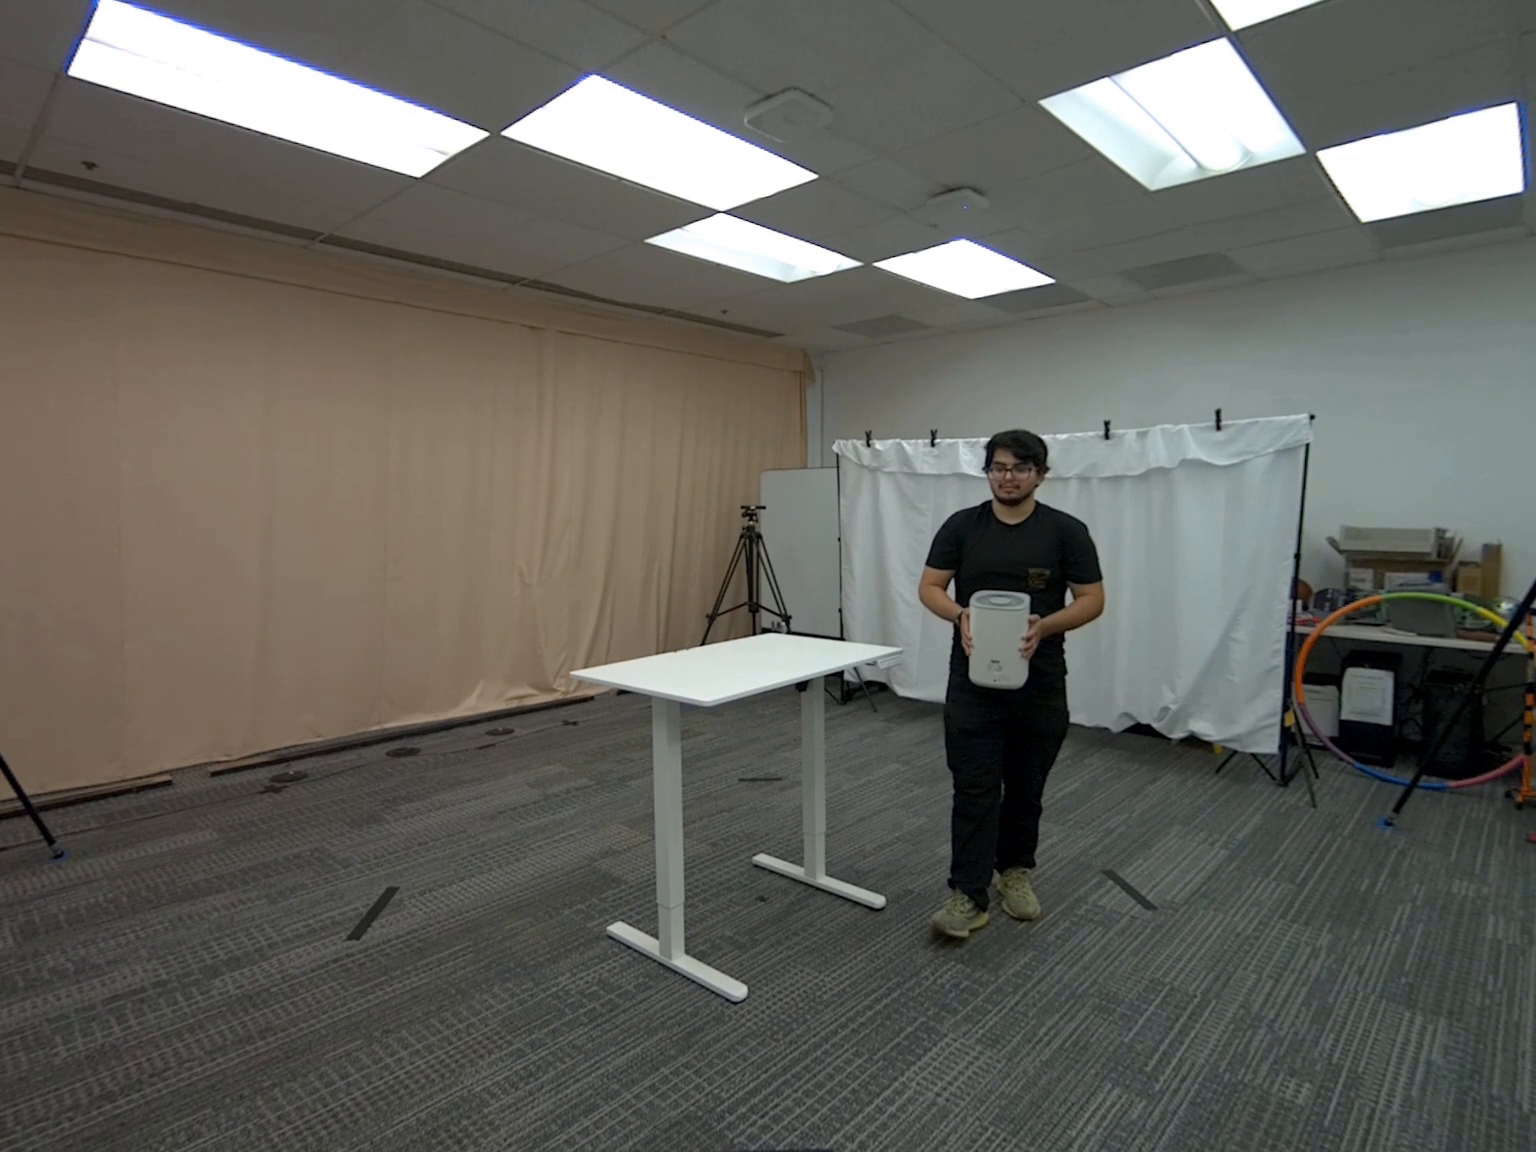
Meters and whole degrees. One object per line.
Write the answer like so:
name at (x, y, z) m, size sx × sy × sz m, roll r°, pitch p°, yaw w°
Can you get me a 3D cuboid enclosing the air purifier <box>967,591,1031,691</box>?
air purifier at (0.711, 0.195, 2.597) m, size 0.175 × 0.263 × 0.169 m, roll 5°, pitch 15°, yaw 21°
